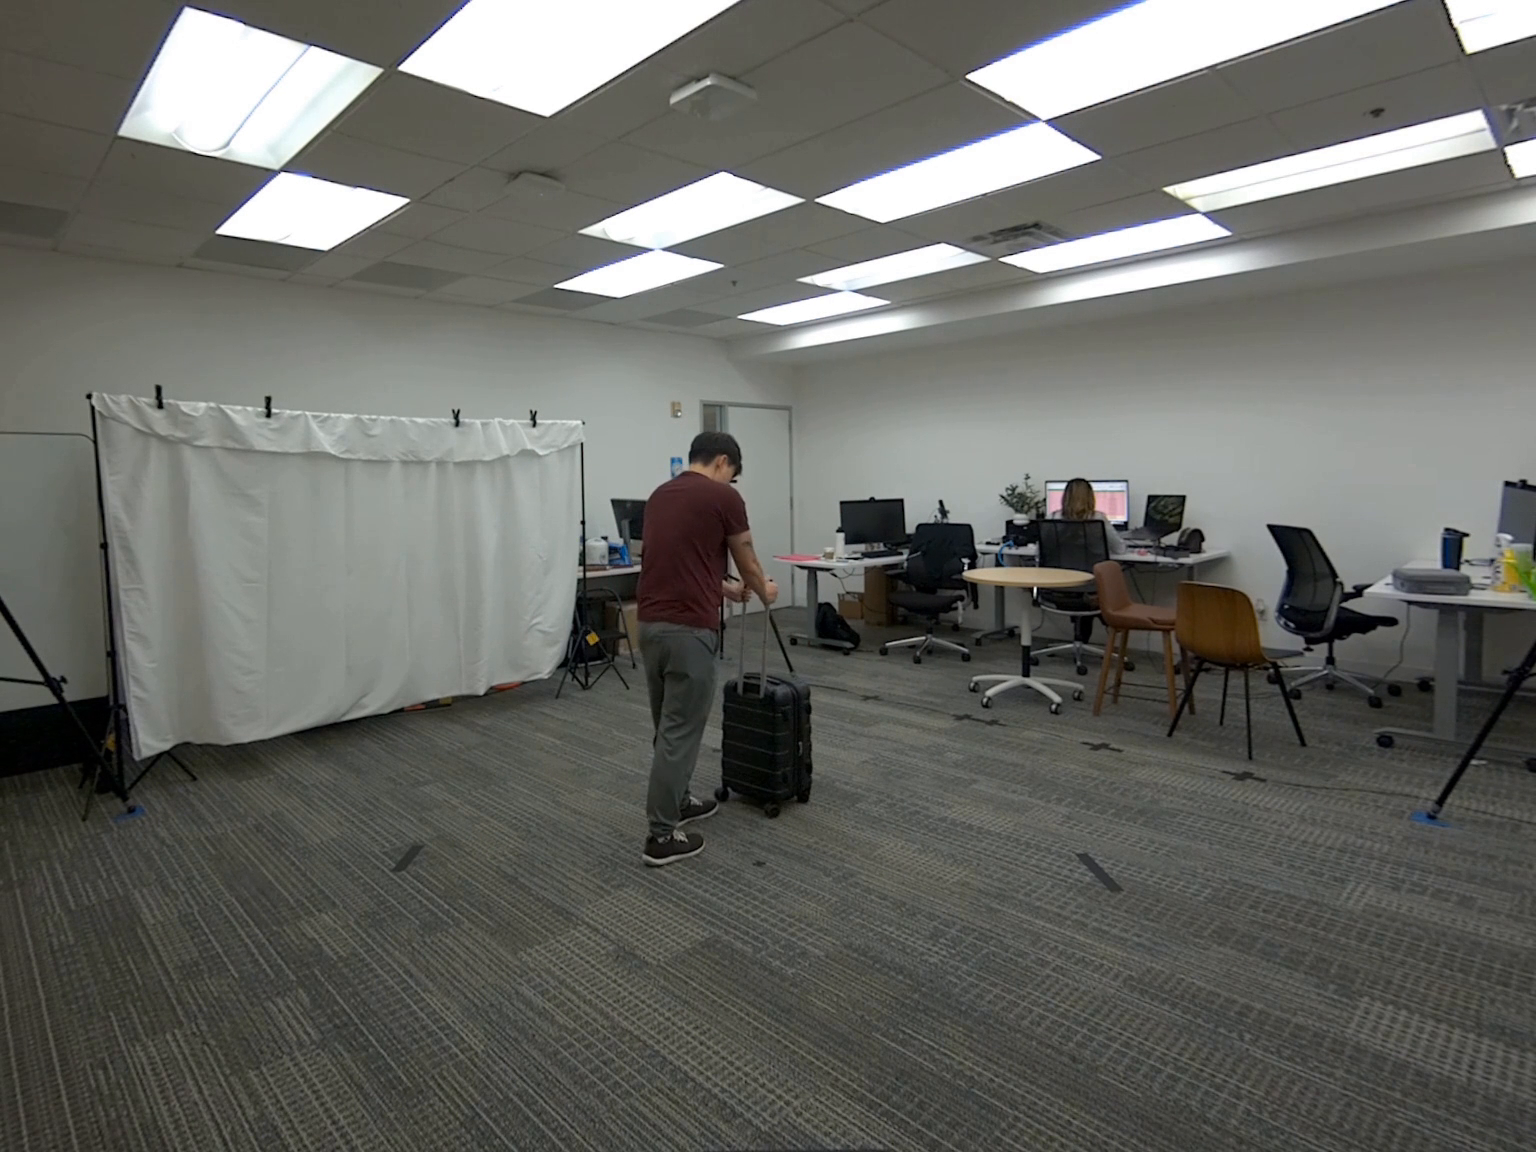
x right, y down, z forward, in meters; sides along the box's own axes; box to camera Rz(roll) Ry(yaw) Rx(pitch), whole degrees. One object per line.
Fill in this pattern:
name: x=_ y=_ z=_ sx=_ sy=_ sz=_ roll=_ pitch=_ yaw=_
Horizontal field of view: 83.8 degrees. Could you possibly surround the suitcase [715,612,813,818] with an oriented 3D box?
suitcase: x=-0.002 y=0.504 z=3.723 sx=0.395 sy=0.978 sz=0.249 roll=2 pitch=0 yaw=41
